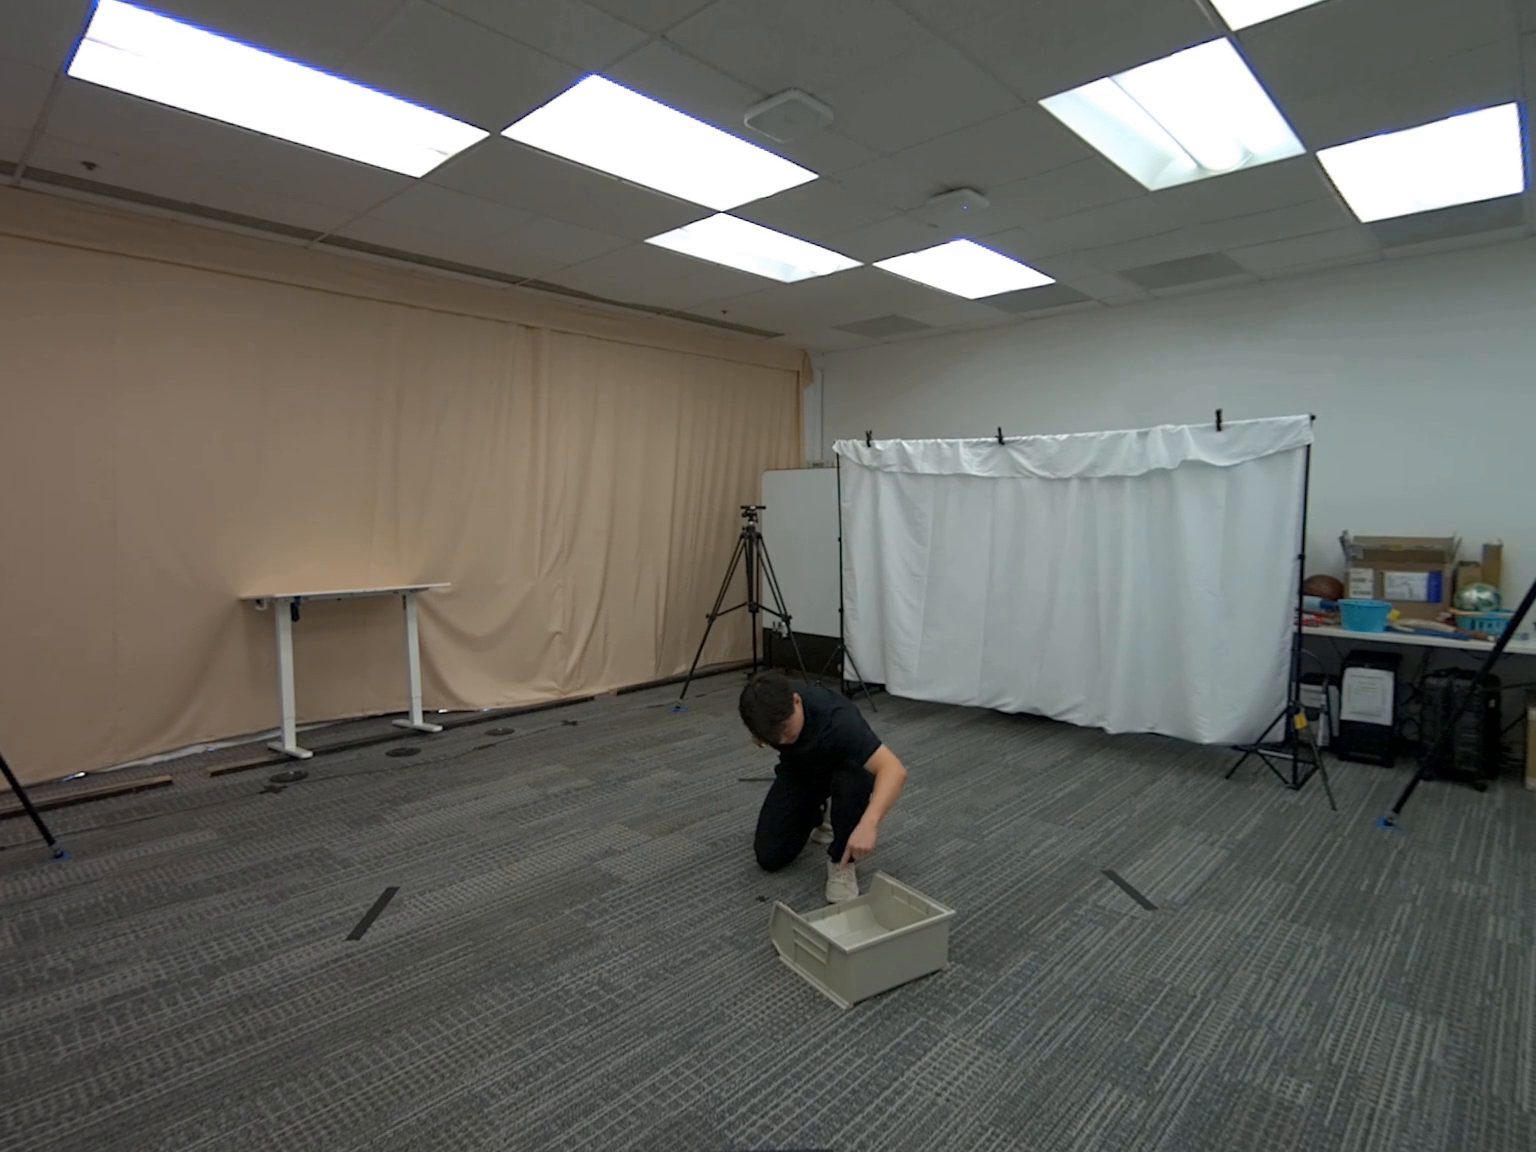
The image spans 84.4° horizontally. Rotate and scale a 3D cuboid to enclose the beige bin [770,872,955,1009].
[{"bbox_3d":[0.280,1.083,2.573,0.410,0.188,0.389,-2,5,-33],"label":"beige bin"}]
